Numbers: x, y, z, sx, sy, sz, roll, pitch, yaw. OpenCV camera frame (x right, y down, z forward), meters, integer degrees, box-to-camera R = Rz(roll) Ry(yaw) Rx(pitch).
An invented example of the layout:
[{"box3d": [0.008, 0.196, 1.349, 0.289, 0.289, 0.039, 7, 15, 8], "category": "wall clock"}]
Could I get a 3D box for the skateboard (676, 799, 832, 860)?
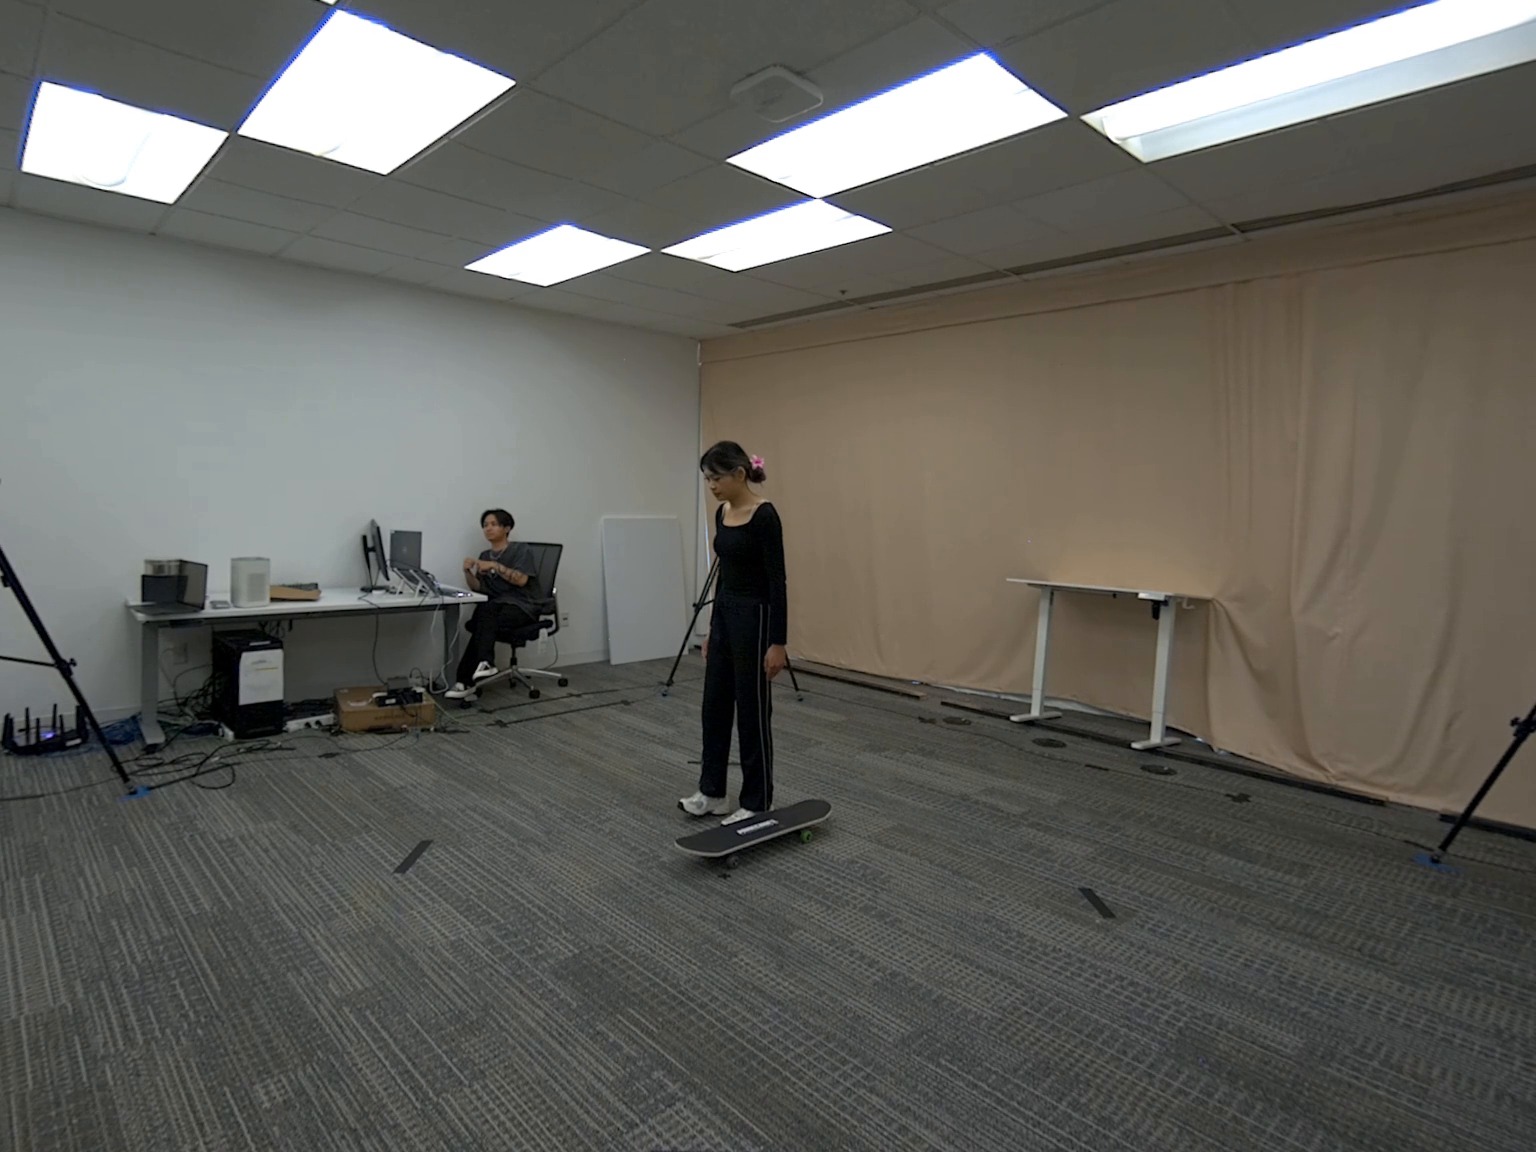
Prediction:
[{"box3d": [-0.046, 1.031, 3.359, 0.768, 0.110, 0.198, -3, 8, -43], "category": "skateboard"}]
